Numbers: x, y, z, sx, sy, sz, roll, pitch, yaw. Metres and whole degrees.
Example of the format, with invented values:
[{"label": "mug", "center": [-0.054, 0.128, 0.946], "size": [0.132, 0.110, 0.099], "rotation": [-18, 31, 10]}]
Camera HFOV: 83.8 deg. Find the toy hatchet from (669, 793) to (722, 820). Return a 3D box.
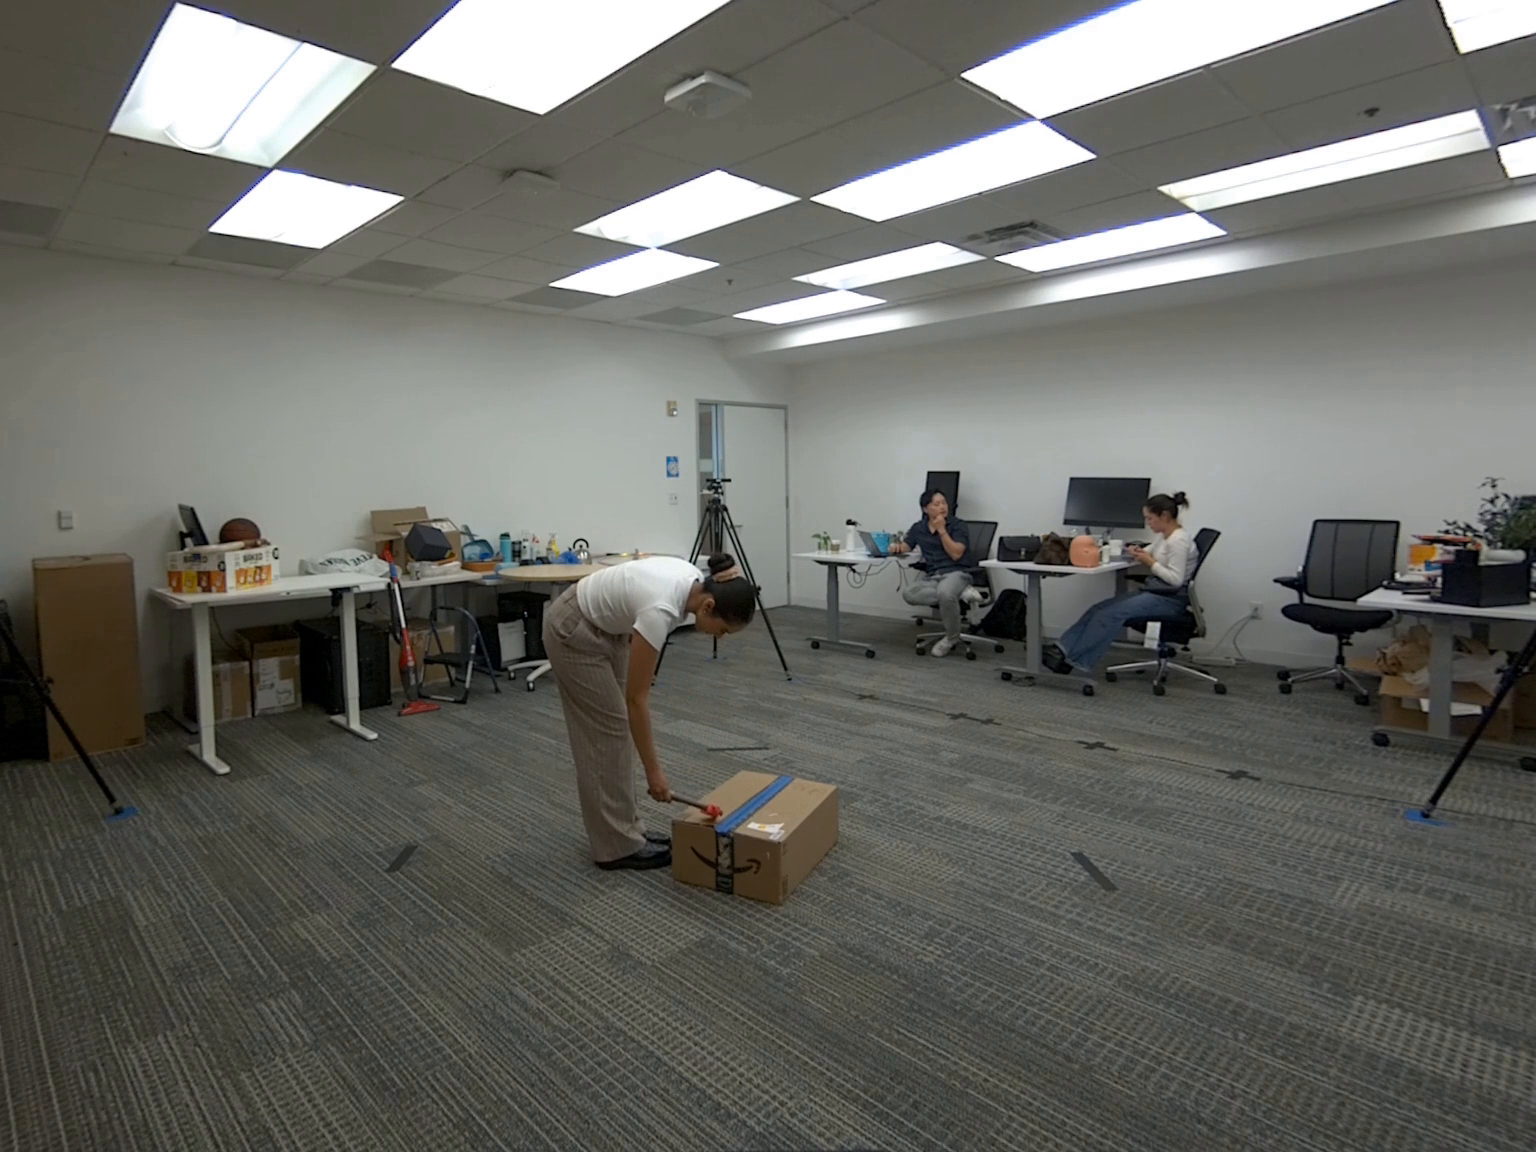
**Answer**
[{"label": "toy hatchet", "center": [-0.279, 0.797, 2.974], "size": [0.276, 0.030, 0.126], "rotation": [6, -30, 23]}]
